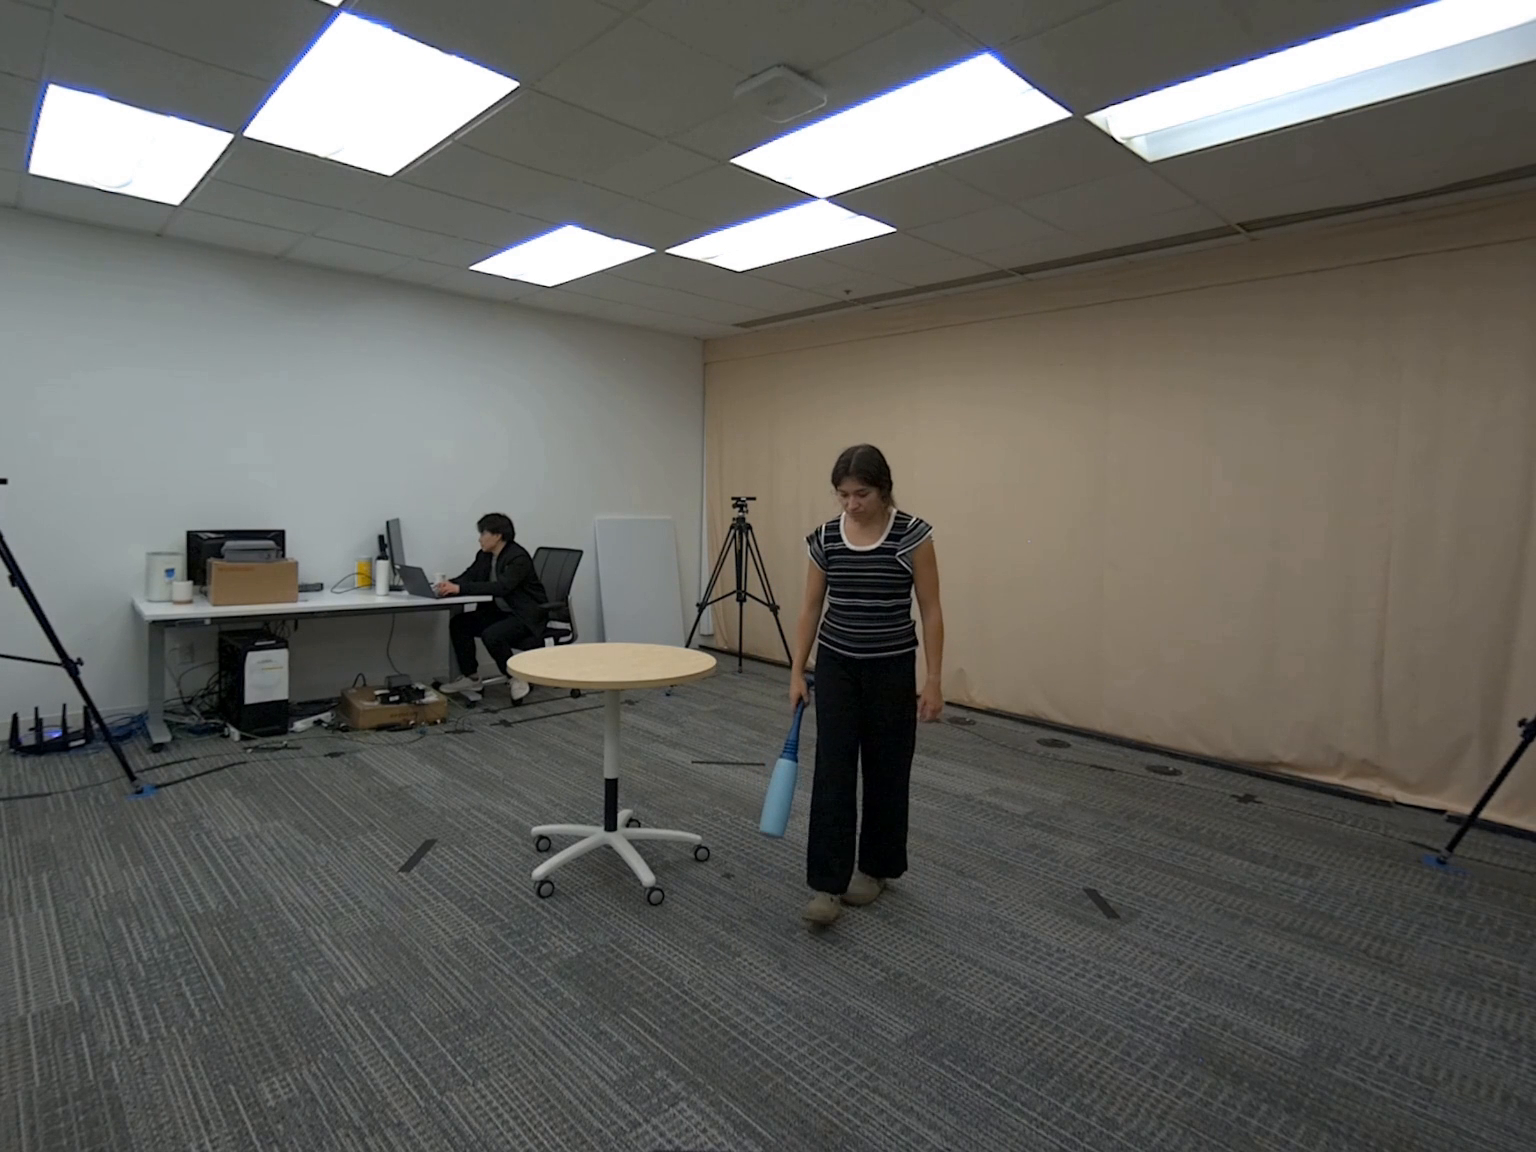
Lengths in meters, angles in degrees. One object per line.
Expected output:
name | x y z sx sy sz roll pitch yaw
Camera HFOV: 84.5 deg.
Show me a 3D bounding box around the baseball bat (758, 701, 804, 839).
baseball bat | 0.072 0.612 2.840 0.089 0.548 0.088 14 -20 4
